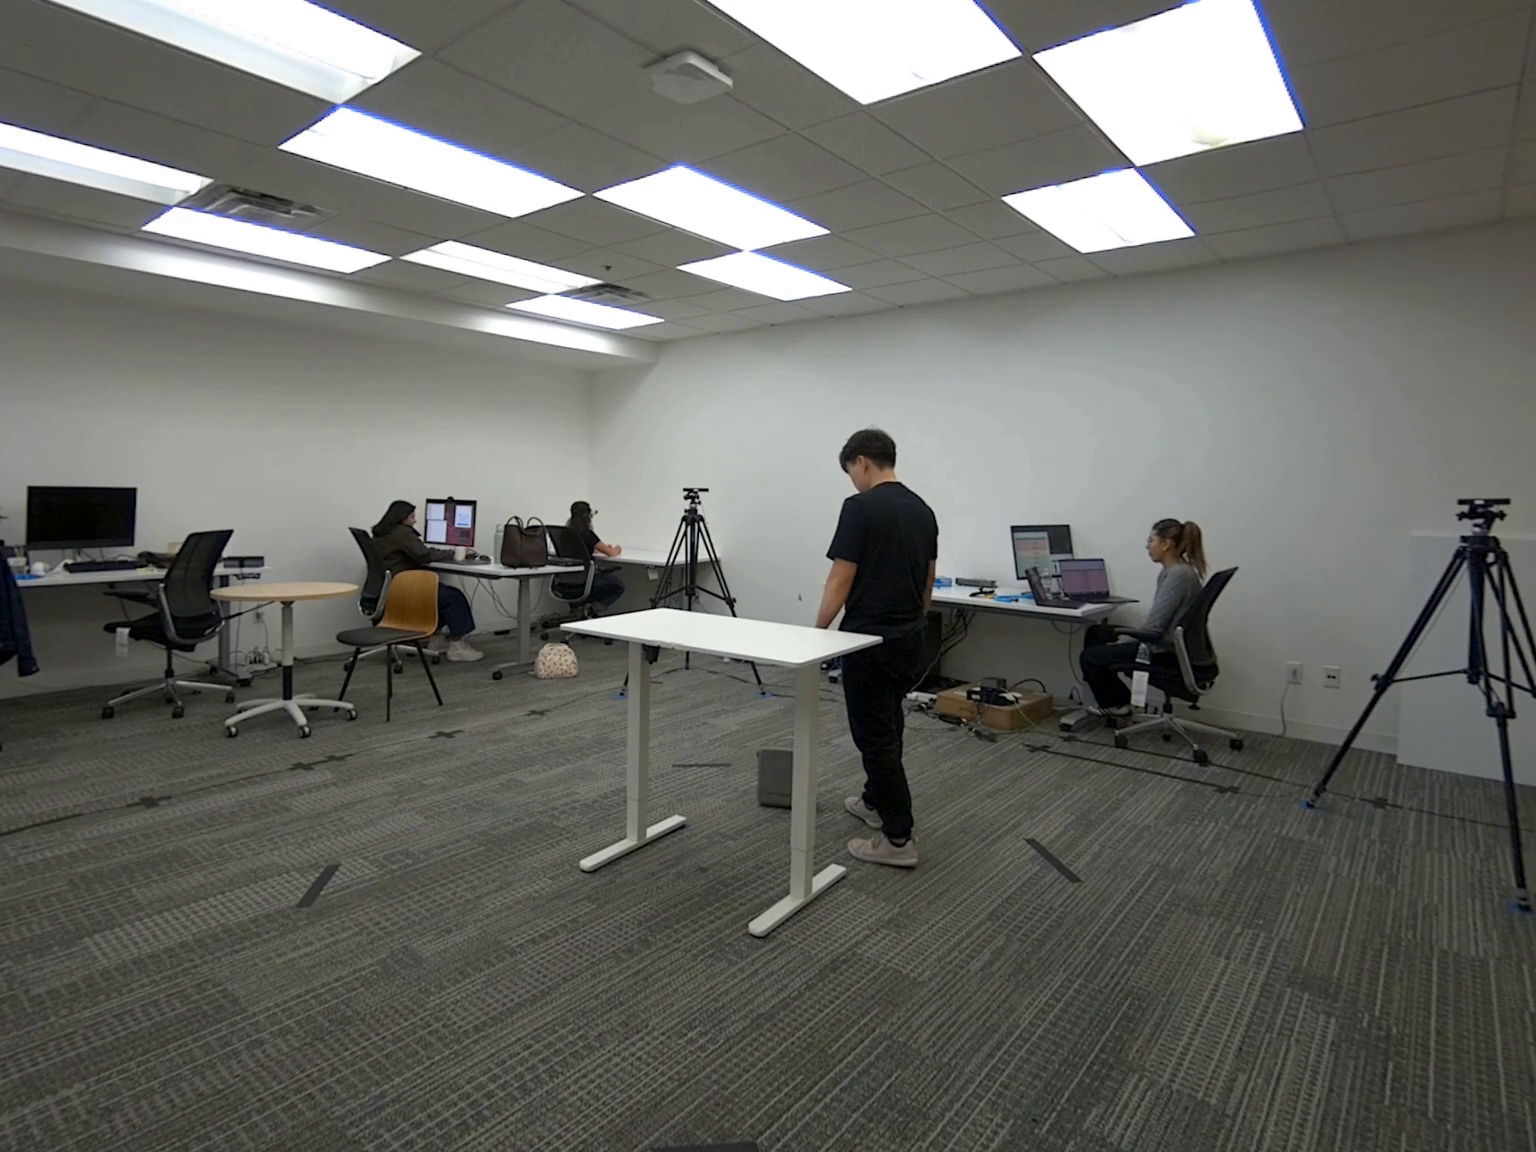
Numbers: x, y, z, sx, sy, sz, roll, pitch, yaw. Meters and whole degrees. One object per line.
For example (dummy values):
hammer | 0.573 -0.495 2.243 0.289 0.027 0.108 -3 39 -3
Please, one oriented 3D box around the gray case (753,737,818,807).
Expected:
gray case | 0.077 0.873 3.770 0.261 0.262 0.102 3 -6 13
